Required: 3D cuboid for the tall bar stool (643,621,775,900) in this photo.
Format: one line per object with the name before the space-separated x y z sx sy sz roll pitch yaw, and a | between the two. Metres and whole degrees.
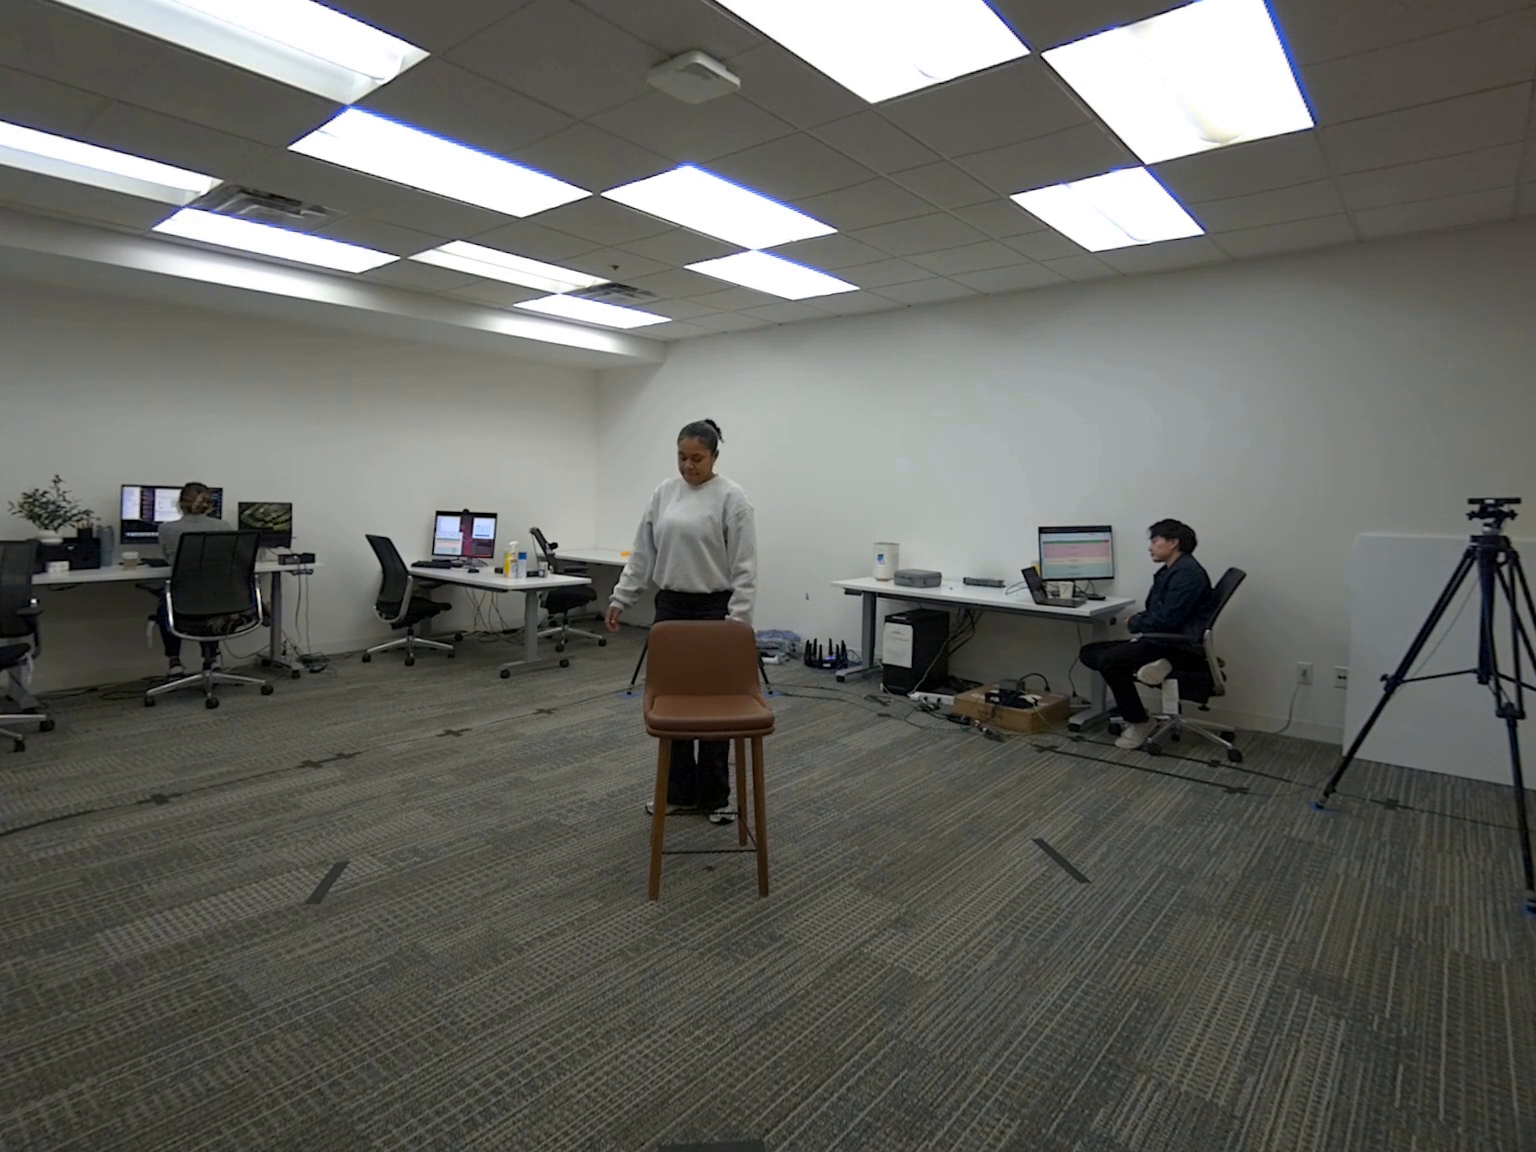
tall bar stool | -0.230 0.632 3.094 0.454 0.889 0.471 0 1 -7
